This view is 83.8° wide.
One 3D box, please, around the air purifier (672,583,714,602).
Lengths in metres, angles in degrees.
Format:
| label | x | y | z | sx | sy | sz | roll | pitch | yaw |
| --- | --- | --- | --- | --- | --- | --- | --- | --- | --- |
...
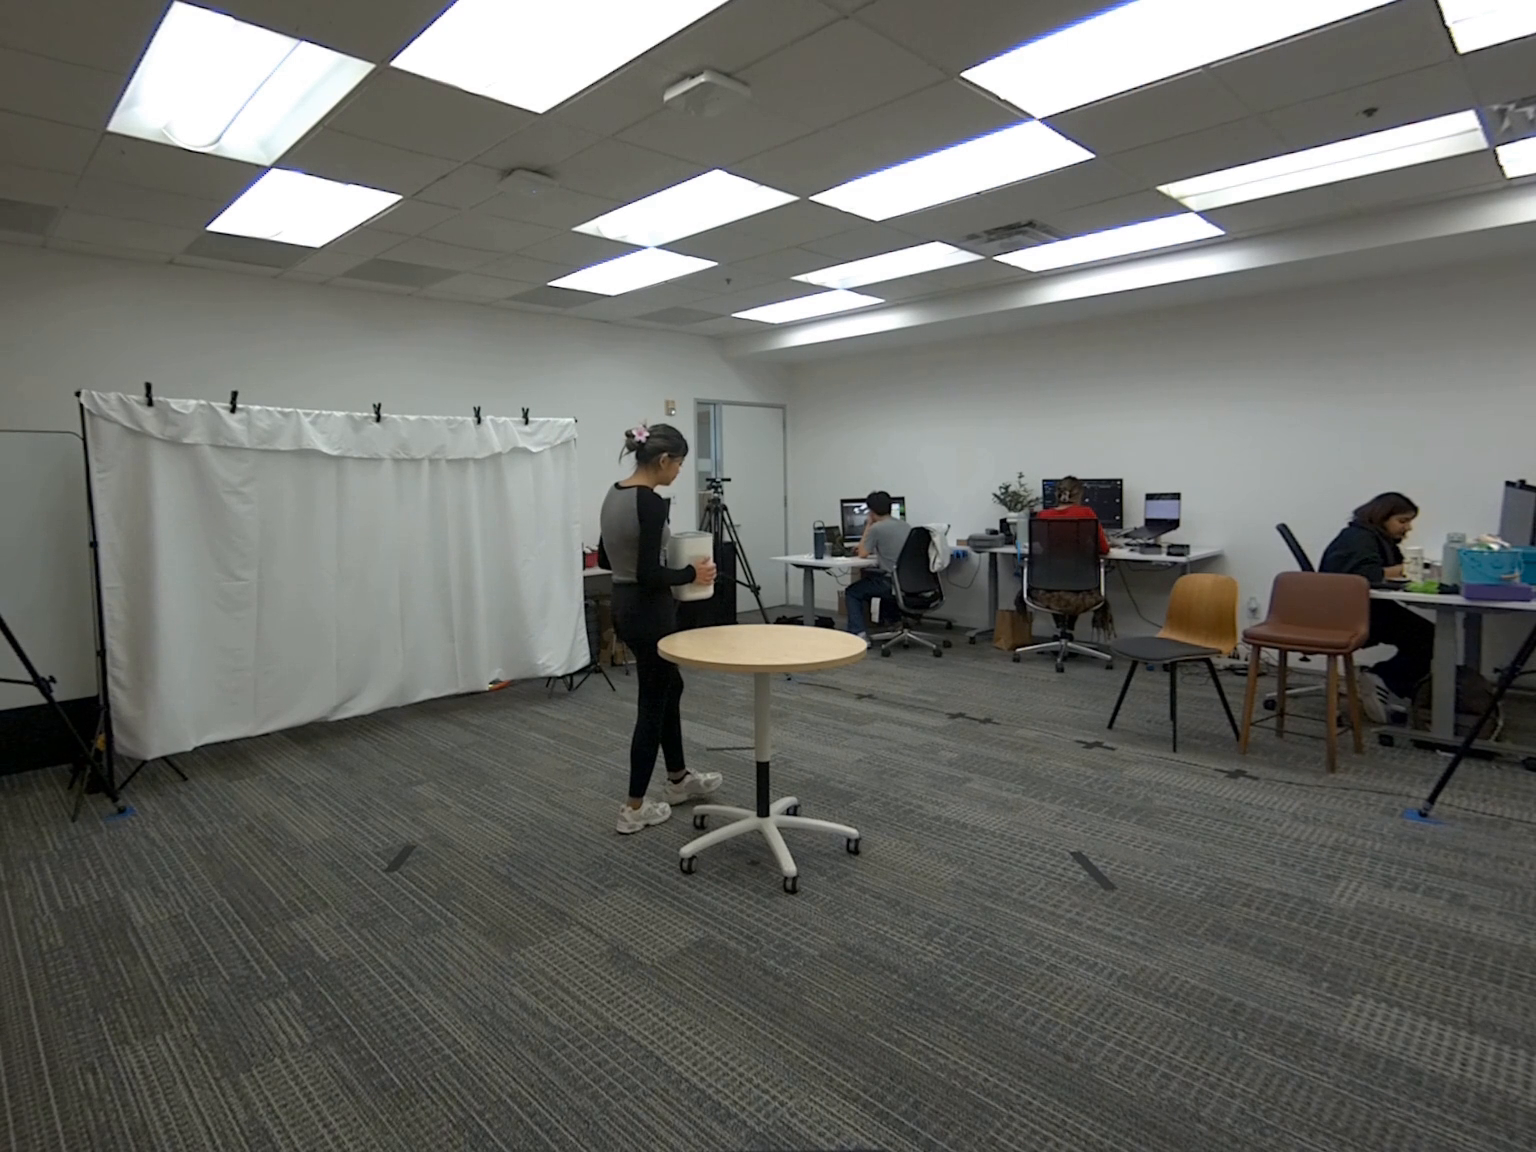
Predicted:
| label | x | y | z | sx | sy | sz | roll | pitch | yaw |
| --- | --- | --- | --- | --- | --- | --- | --- | --- | --- |
| air purifier | -0.324 | -0.041 | 3.523 | 0.168 | 0.263 | 0.176 | -3 | 9 | -22 |
